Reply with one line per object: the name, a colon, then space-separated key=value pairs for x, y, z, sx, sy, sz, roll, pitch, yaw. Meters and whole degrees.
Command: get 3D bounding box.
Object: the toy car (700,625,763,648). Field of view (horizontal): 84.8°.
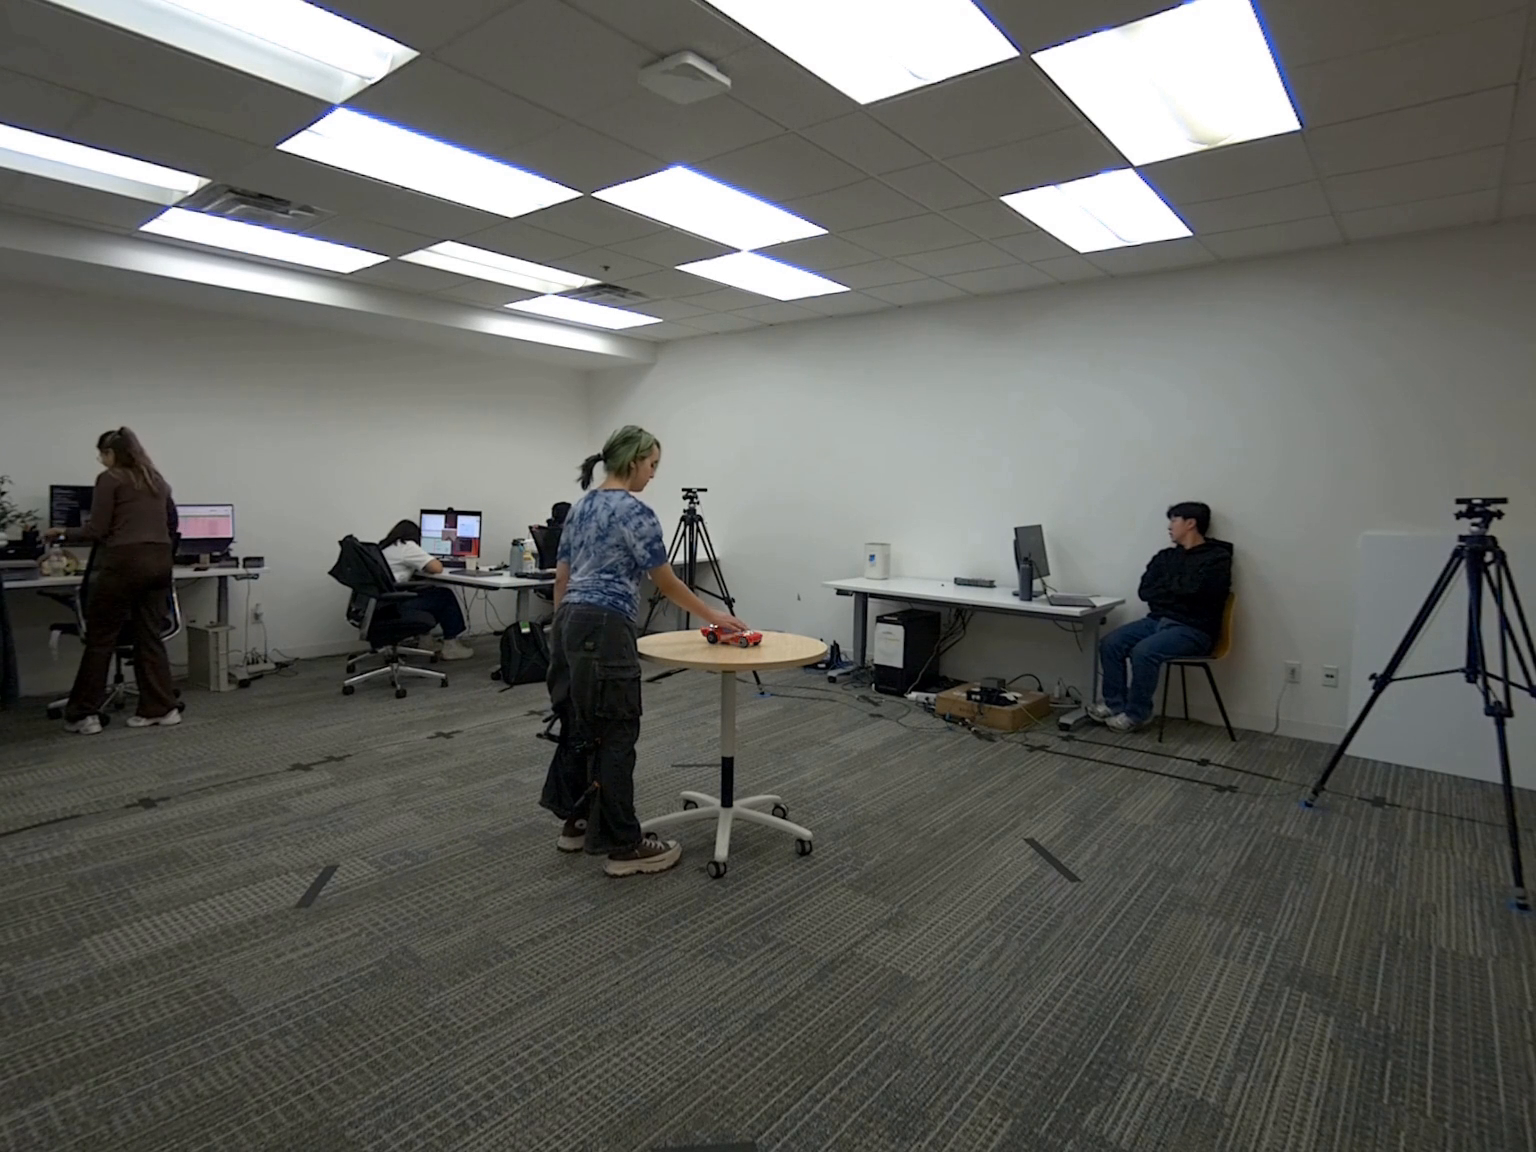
toy car: x=-0.162 y=0.236 z=3.362 sx=0.263 sy=0.082 sz=0.127 roll=16 pitch=12 yaw=31
